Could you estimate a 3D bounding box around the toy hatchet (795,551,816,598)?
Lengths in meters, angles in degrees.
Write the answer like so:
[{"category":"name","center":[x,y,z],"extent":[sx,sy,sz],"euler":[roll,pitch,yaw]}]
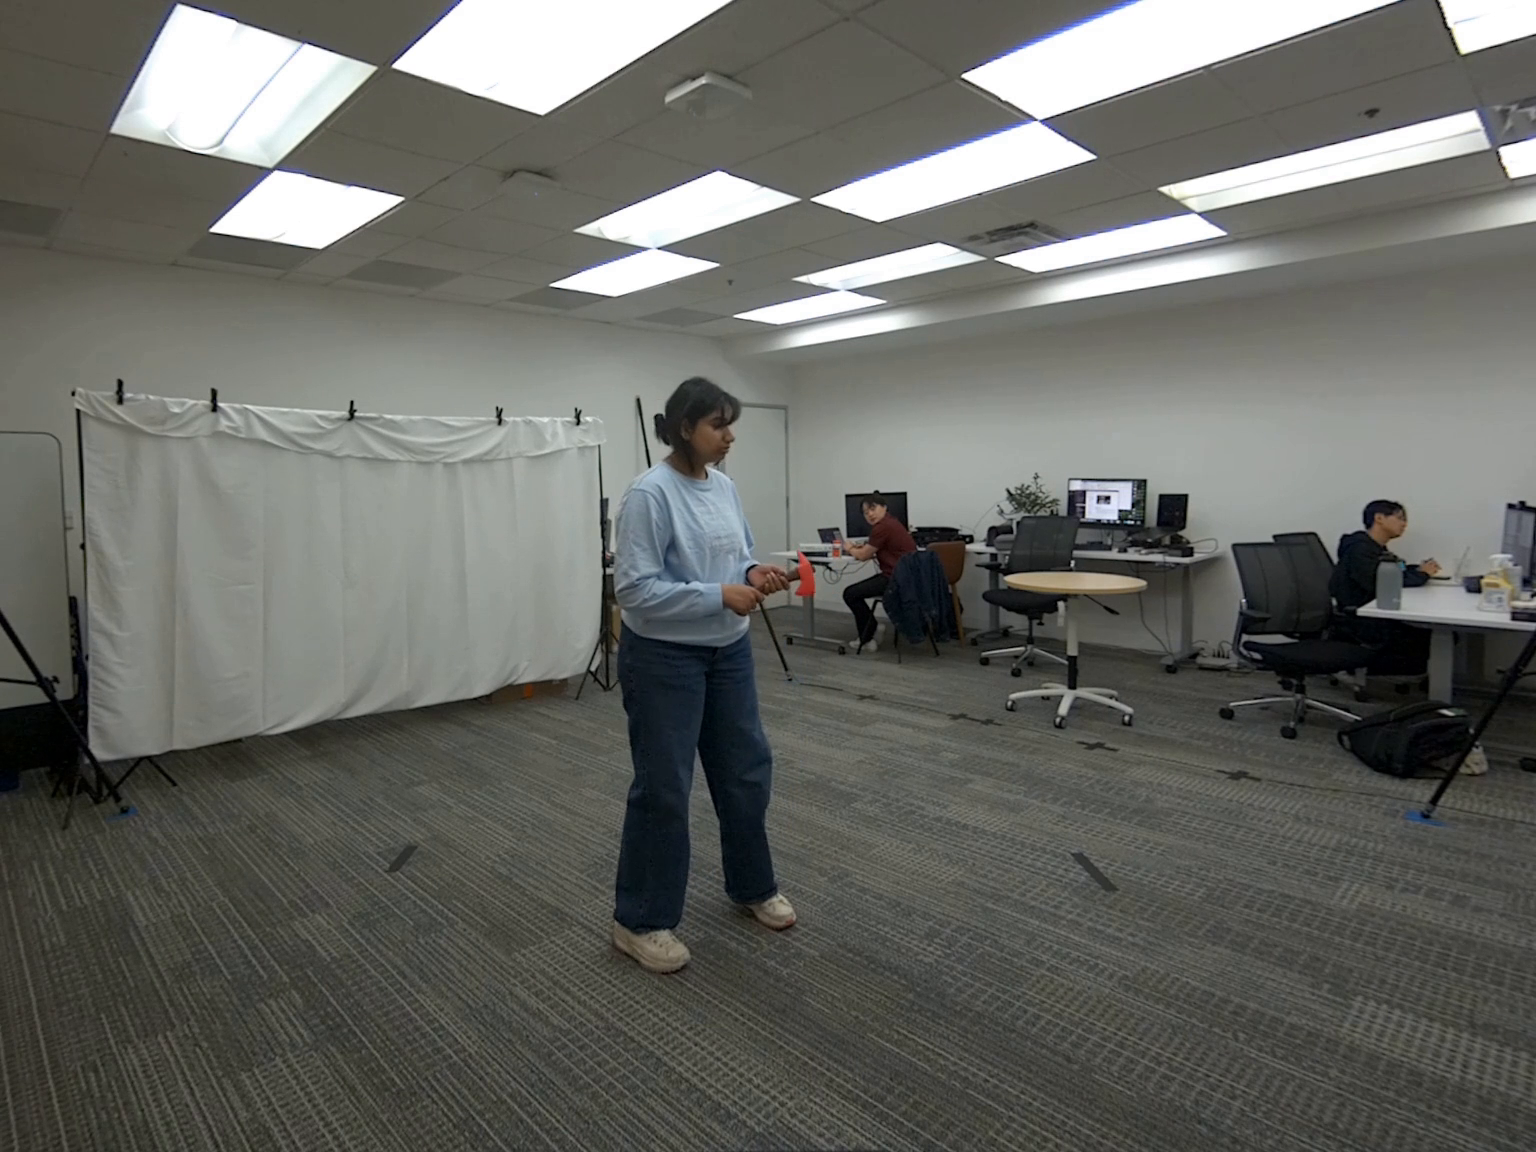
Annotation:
[{"category":"toy hatchet","center":[0.020,0.055,2.466],"extent":[0.270,0.130,0.030],"euler":[-37,4,-4]}]
